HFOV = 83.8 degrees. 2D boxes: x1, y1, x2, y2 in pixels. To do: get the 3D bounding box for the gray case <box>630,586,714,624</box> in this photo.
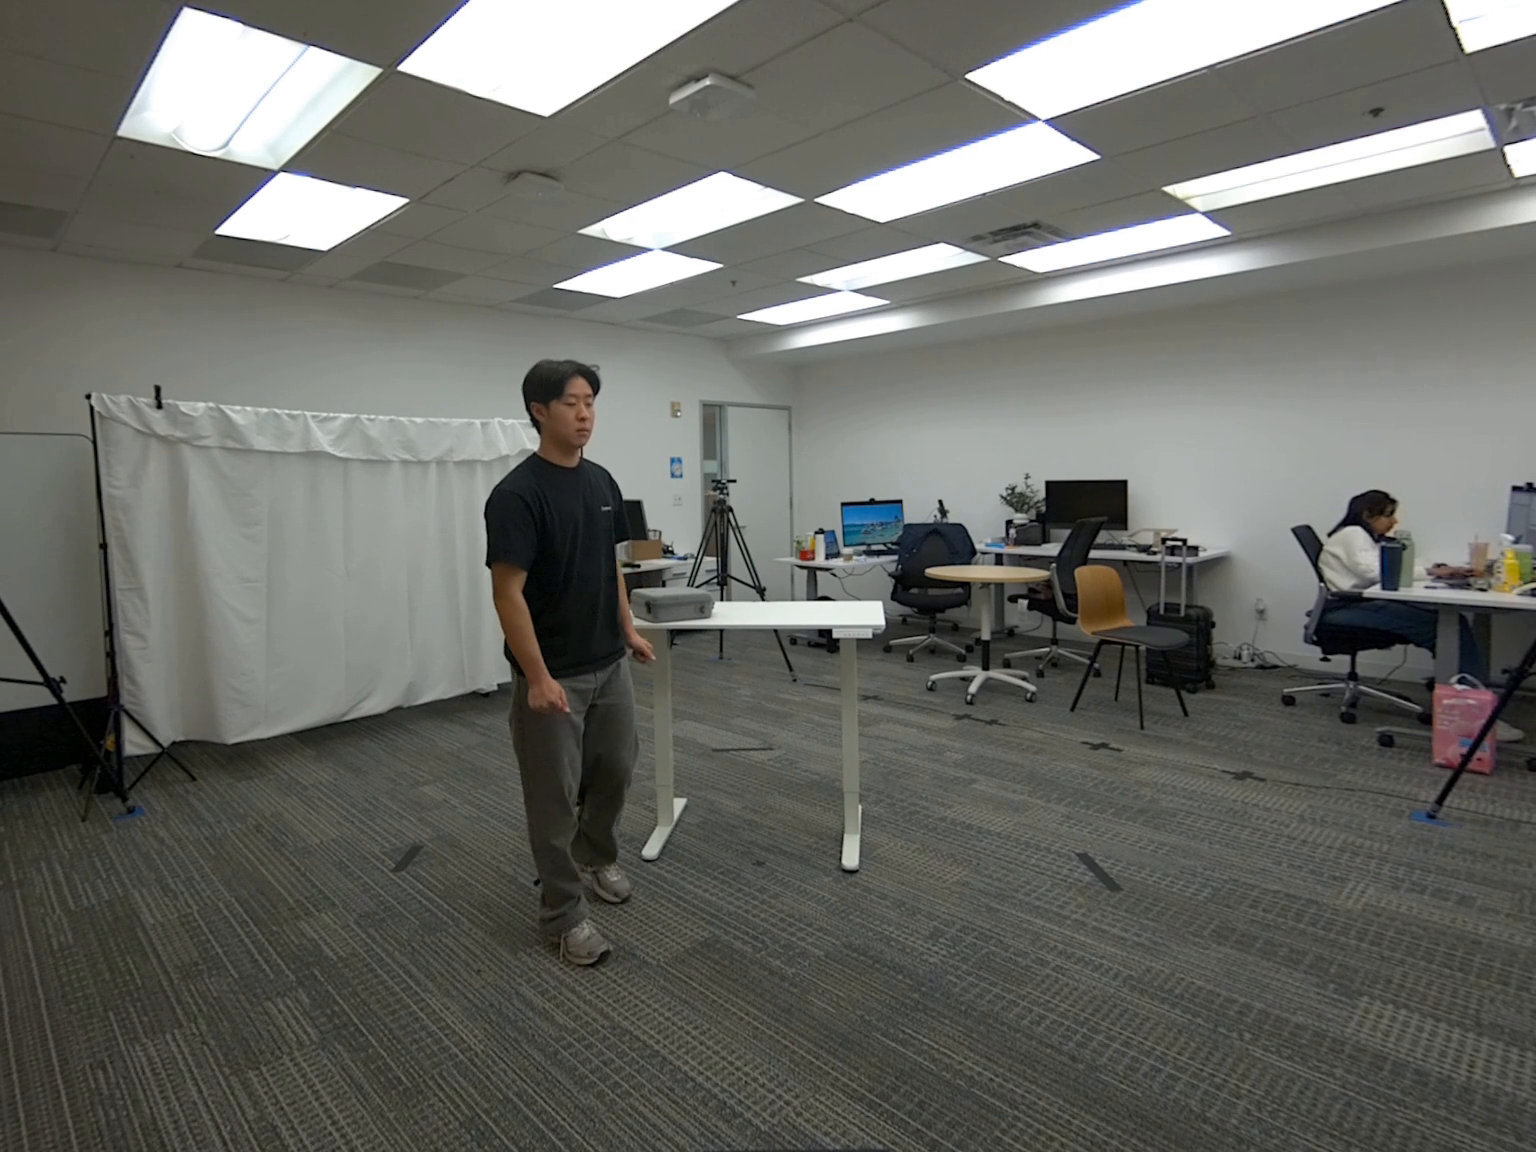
[{"bbox_3d":[-0.370,0.098,3.263,0.258,0.102,0.294,-4,7,-23],"label":"gray case"}]
